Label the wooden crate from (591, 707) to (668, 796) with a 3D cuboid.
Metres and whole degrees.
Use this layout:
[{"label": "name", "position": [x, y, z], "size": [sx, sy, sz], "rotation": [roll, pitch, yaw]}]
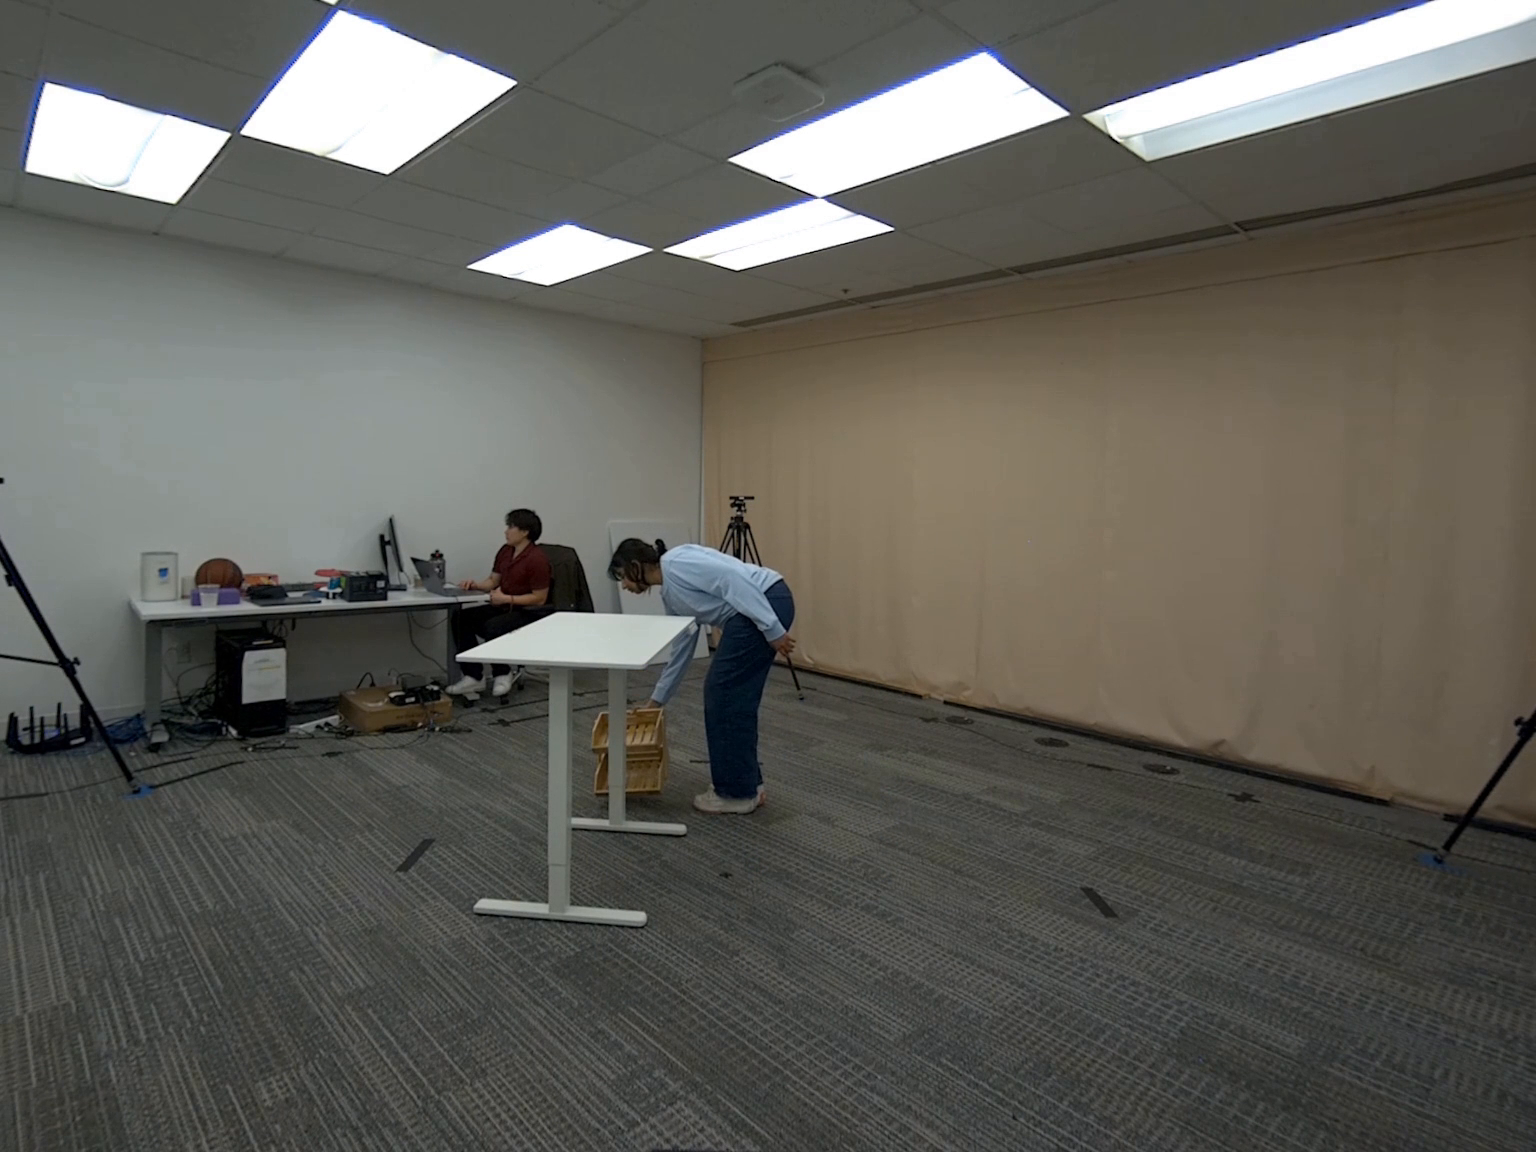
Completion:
[{"label": "wooden crate", "position": [-0.634, 0.796, 3.787], "size": [0.327, 0.268, 0.304], "rotation": [-3, 23, 11]}]
